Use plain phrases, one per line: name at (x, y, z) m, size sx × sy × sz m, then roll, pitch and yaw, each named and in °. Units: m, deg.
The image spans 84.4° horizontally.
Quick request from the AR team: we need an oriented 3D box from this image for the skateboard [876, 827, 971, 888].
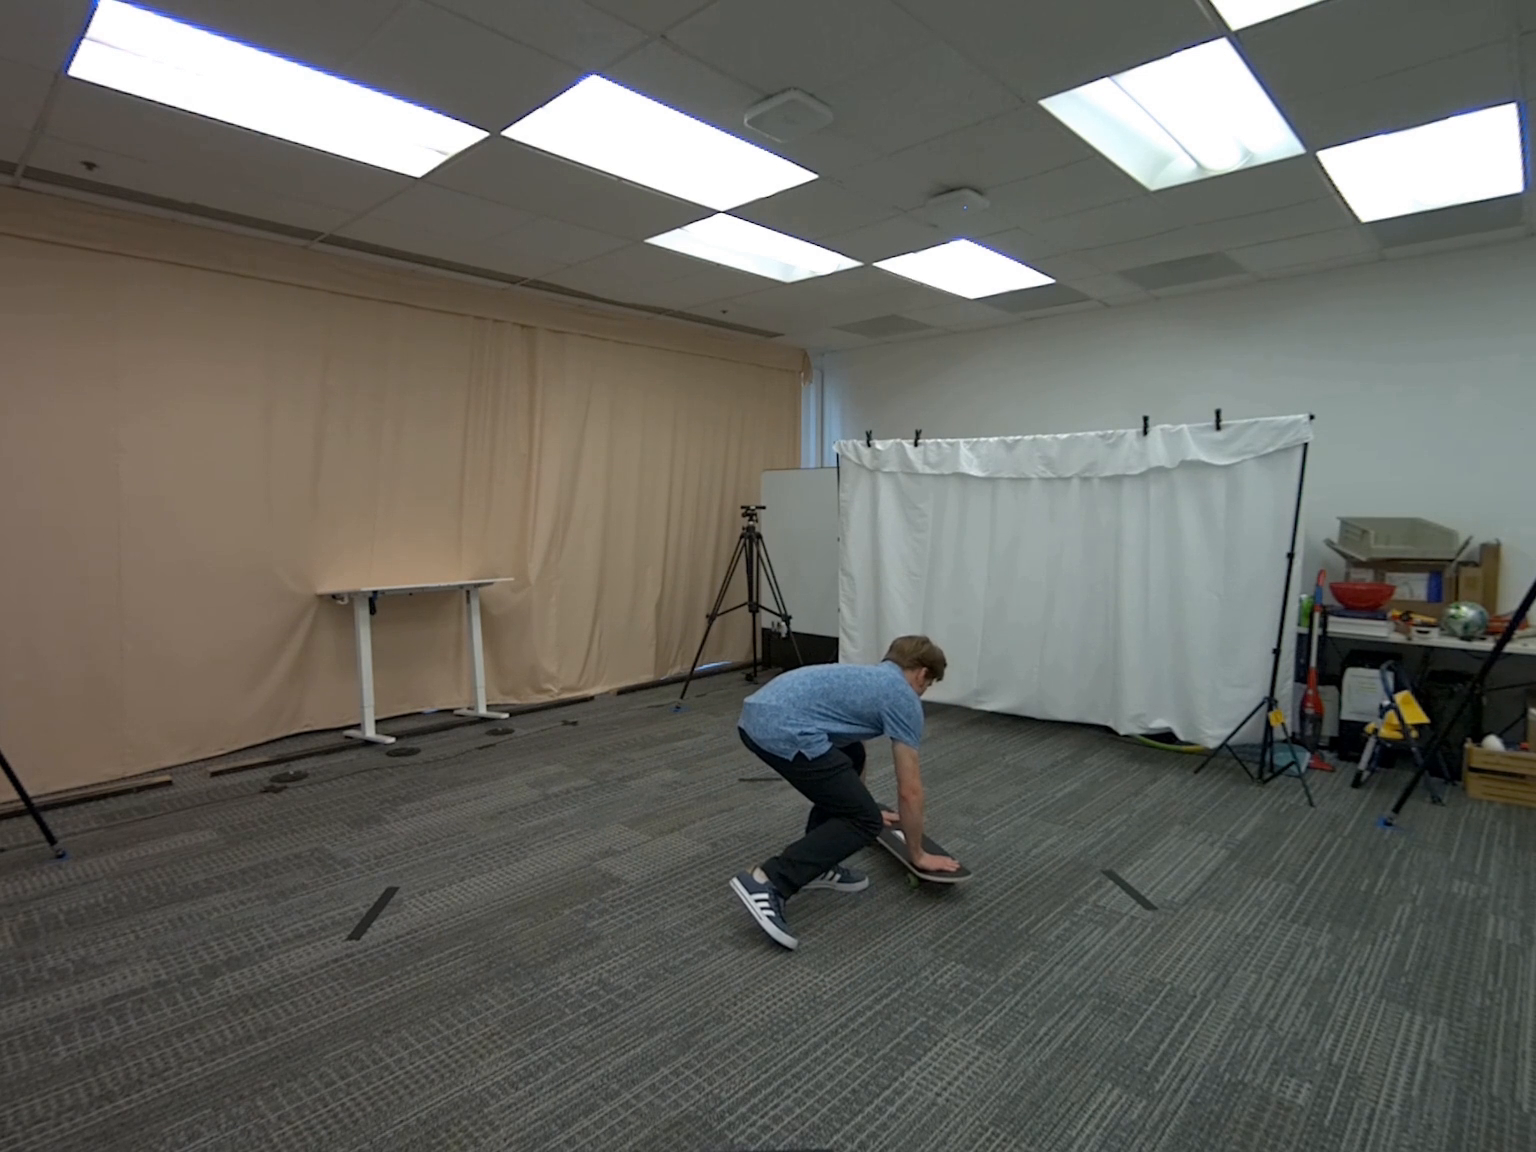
skateboard at (0.540, 1.060, 3.273) m, size 0.190 × 0.110 × 0.800 m, roll 0°, pitch 5°, yaw -17°
